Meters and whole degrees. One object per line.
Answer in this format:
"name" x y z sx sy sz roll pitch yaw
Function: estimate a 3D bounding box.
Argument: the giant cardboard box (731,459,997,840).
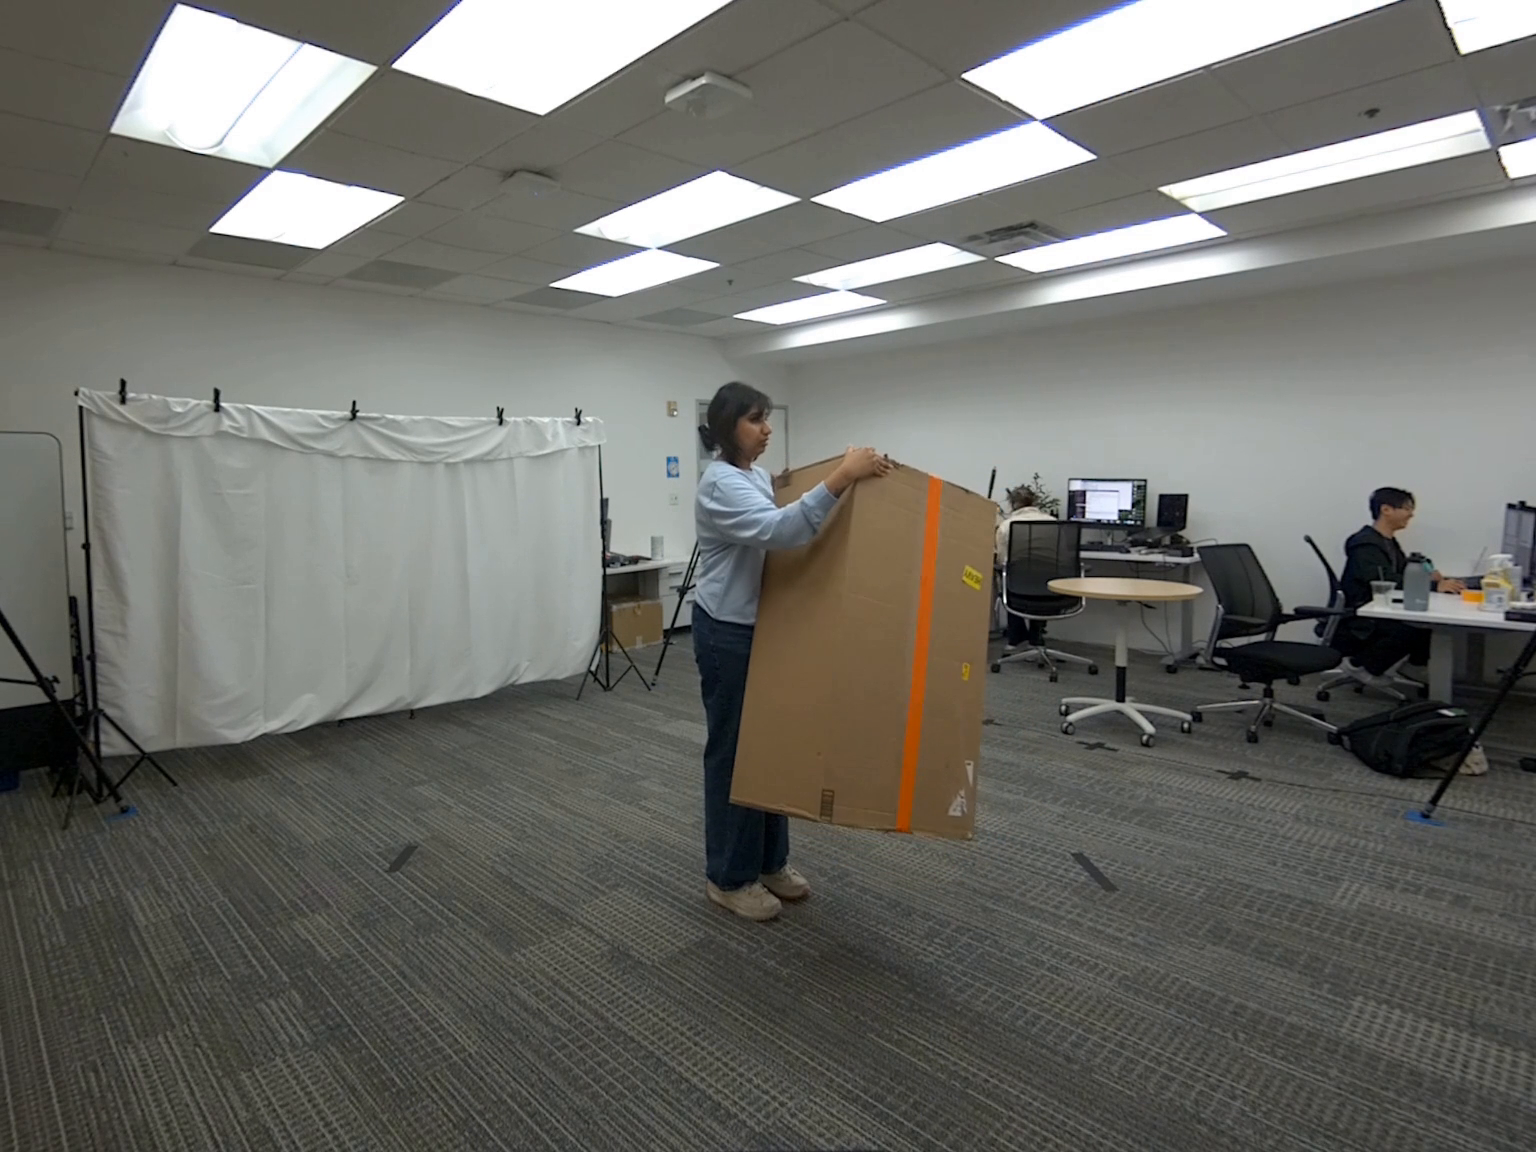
"giant cardboard box" 0.312 0.217 2.594 0.567 1.038 0.455 16 -16 -29
